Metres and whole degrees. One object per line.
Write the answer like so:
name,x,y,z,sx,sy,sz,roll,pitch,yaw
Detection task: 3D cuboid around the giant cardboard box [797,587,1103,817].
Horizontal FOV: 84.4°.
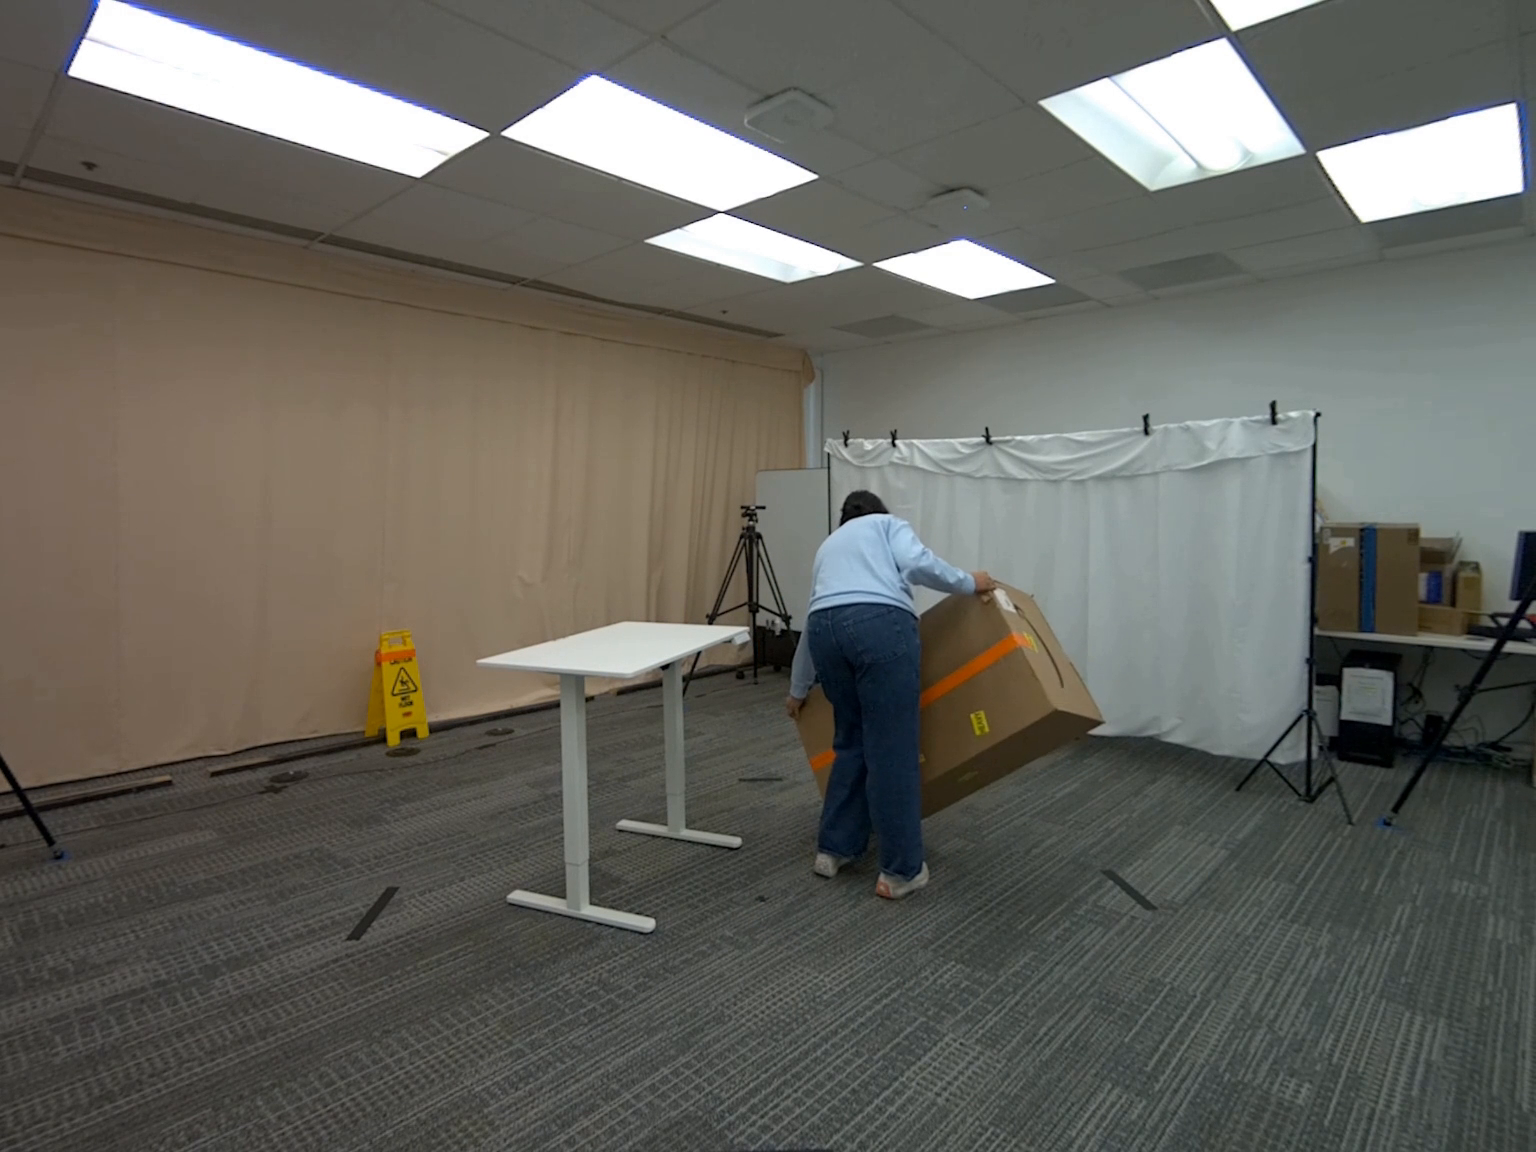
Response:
giant cardboard box,0.672,0.548,3.367,1.036,0.592,0.411,-39,-37,28
